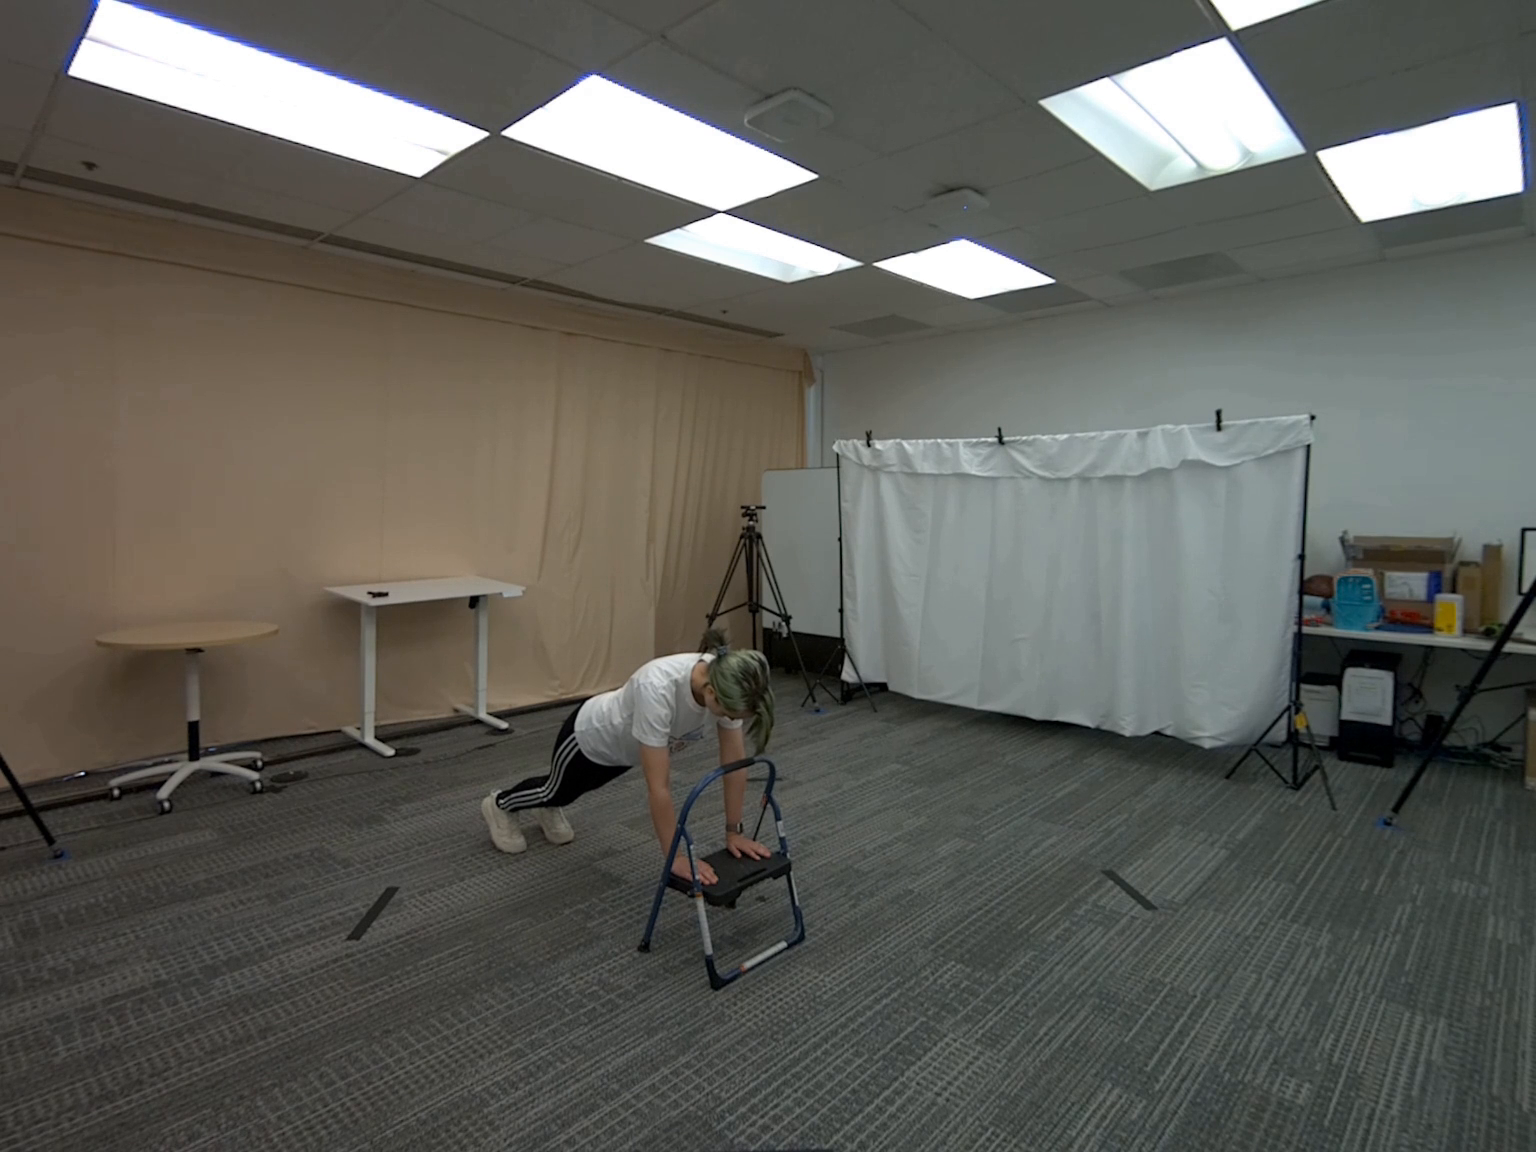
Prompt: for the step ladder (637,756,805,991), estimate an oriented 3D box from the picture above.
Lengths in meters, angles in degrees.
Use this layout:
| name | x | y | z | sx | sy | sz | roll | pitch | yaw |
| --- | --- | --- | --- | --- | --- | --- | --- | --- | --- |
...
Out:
| name | x | y | z | sx | sy | sz | roll | pitch | yaw |
| --- | --- | --- | --- | --- | --- | --- | --- | --- | --- |
| step ladder | -0.139 | 0.869 | 2.661 | 0.361 | 0.605 | 0.417 | 3 | 4 | 42 |
